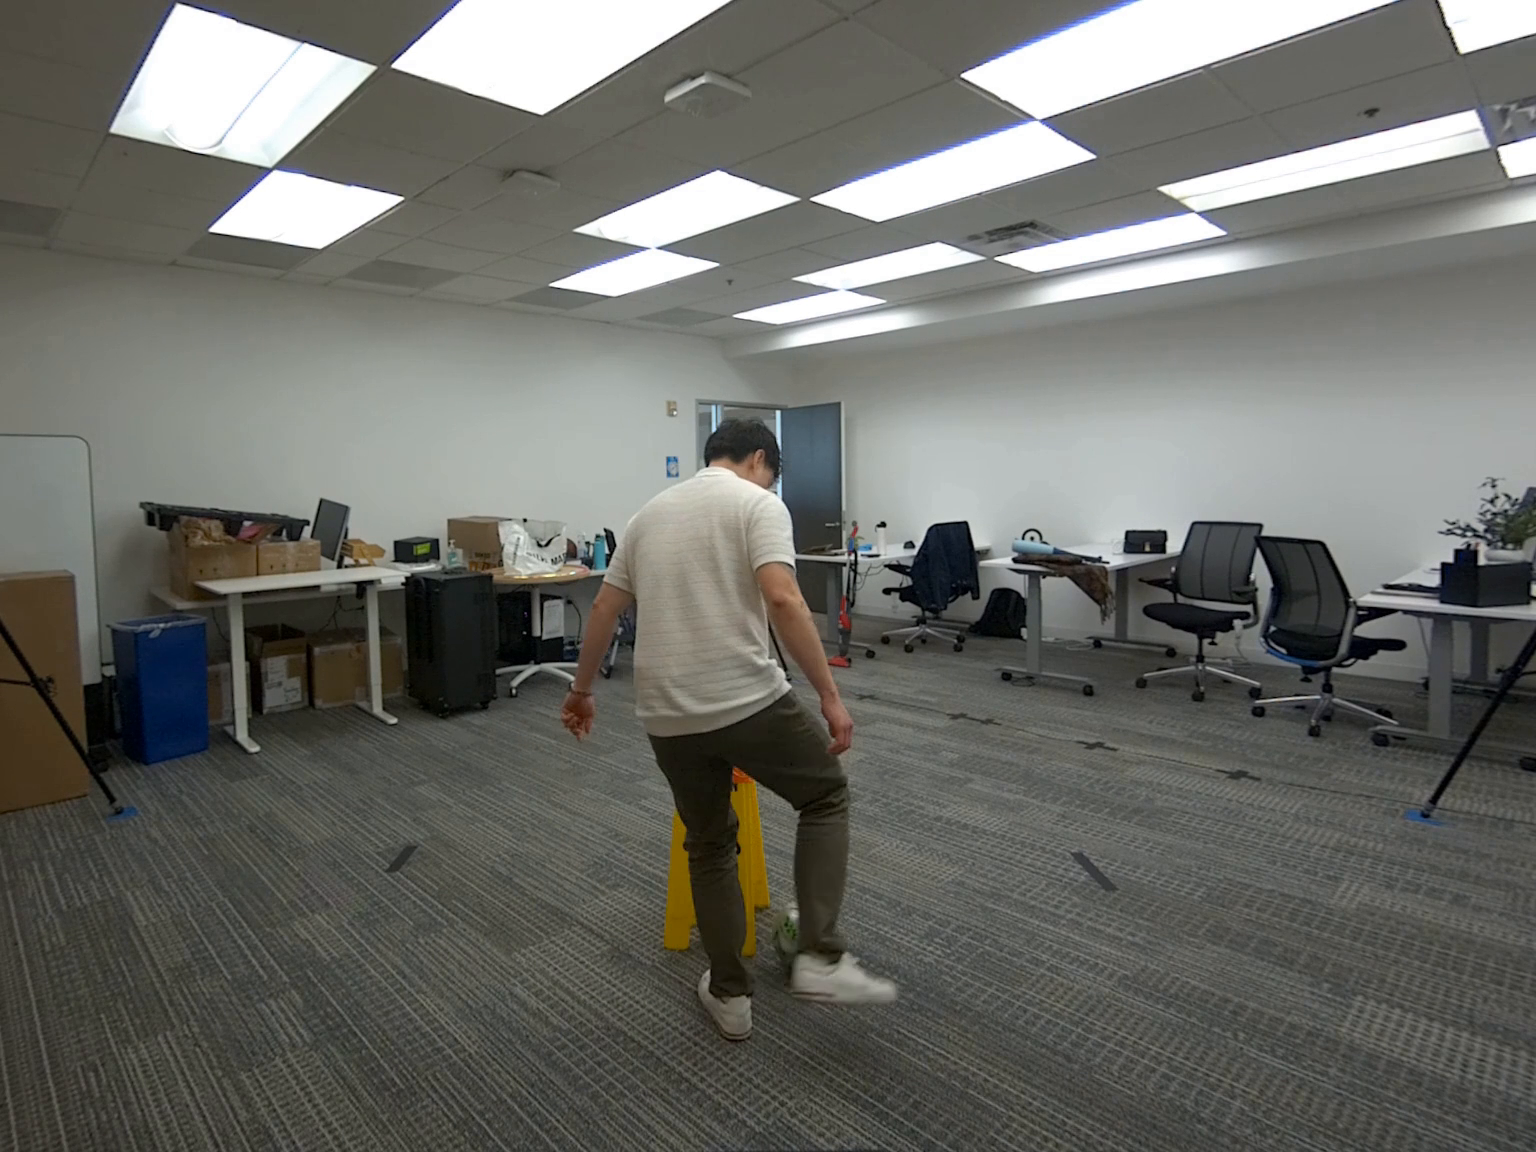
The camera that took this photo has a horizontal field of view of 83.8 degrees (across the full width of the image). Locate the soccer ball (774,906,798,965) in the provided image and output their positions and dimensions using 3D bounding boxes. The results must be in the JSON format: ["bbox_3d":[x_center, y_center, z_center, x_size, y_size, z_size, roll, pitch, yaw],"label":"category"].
[{"bbox_3d":[0.107,1.023,2.441,0.187,0.187,0.188,-1,5,-2],"label":"soccer ball"}]
